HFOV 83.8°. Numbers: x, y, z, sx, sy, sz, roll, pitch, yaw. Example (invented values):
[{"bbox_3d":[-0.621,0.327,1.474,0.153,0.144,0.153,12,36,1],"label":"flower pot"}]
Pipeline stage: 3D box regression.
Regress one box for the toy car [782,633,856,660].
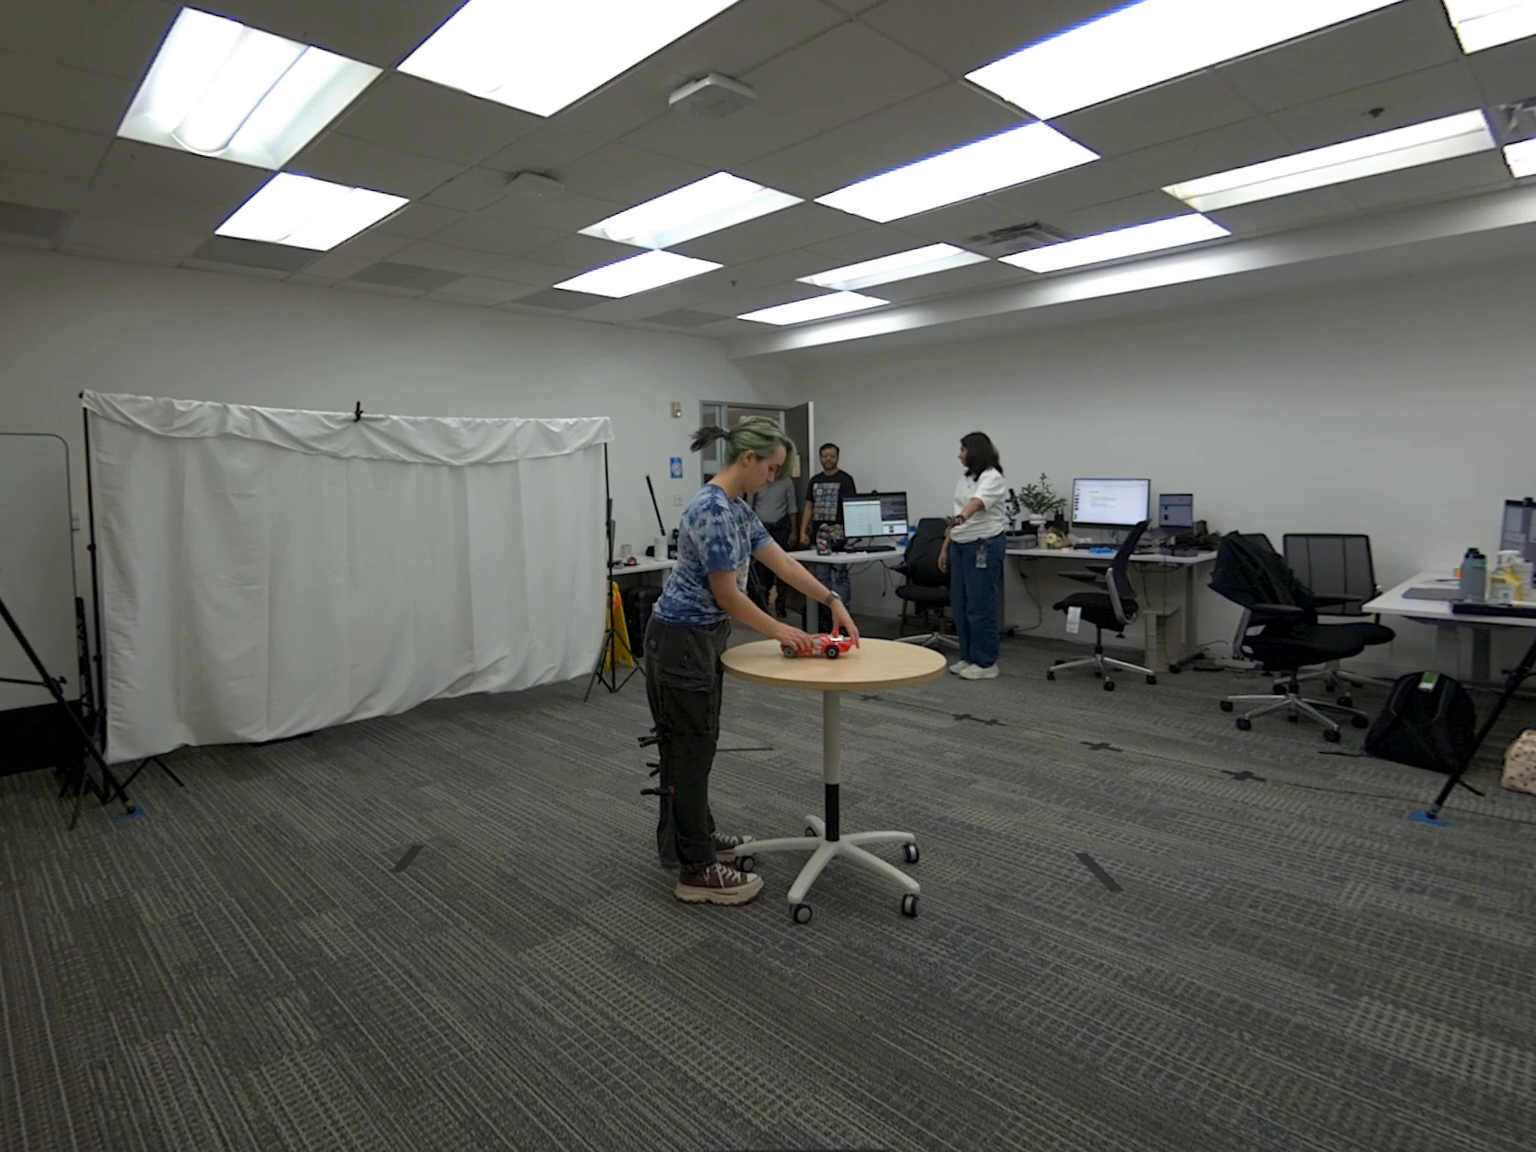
[{"bbox_3d":[0.176,0.246,2.944,0.257,0.083,0.130,-9,5,10],"label":"toy car"}]
